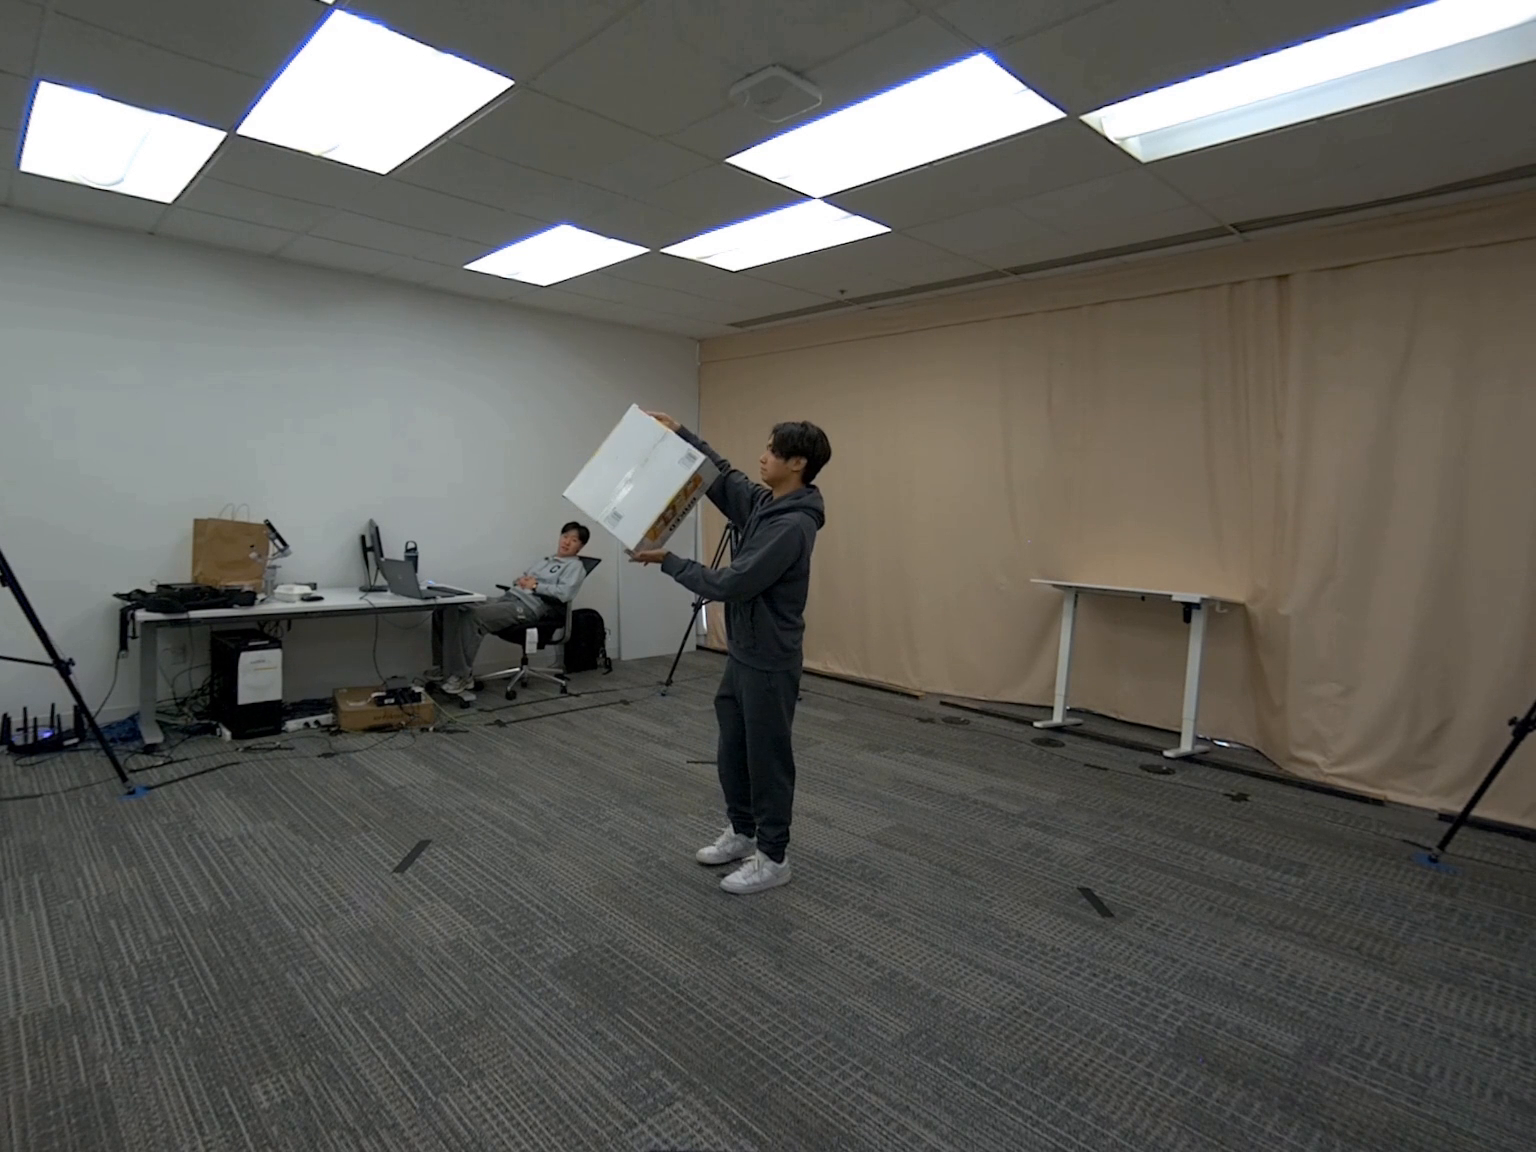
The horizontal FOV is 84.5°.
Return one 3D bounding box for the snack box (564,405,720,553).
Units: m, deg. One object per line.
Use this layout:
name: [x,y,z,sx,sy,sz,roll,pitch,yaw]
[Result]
snack box: [-0.449,-0.322,2.934,0.347,0.405,0.202,37,-1,17]
